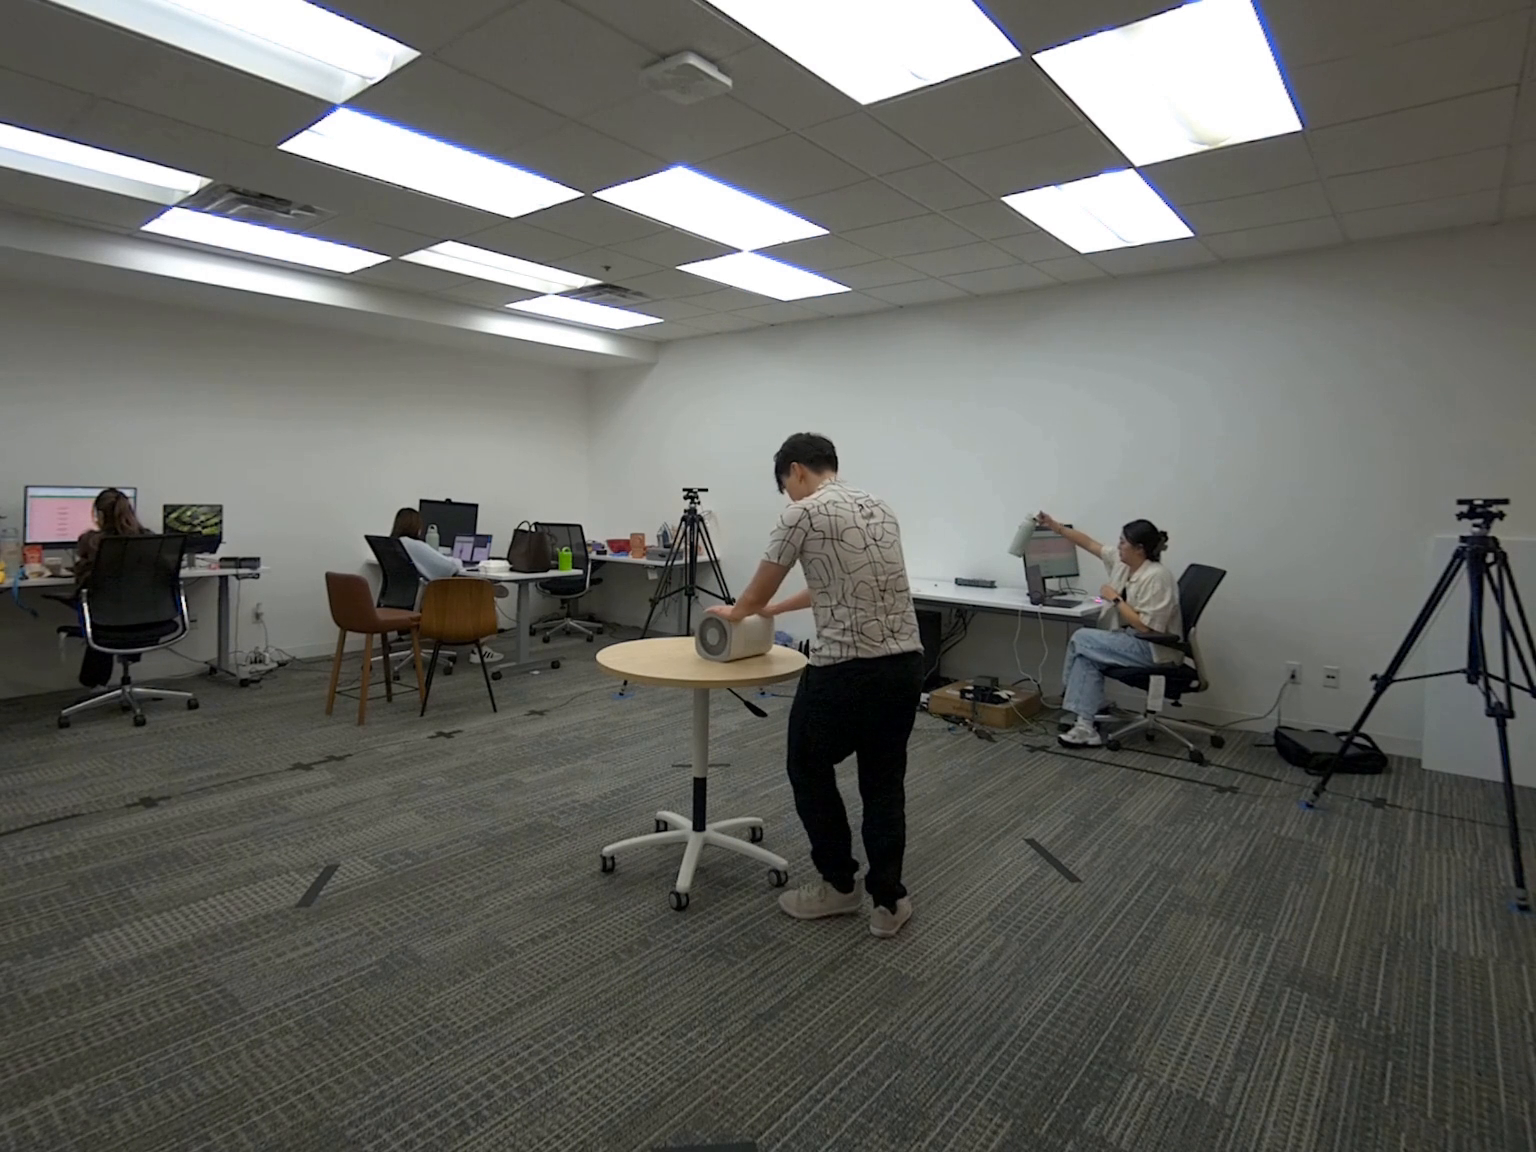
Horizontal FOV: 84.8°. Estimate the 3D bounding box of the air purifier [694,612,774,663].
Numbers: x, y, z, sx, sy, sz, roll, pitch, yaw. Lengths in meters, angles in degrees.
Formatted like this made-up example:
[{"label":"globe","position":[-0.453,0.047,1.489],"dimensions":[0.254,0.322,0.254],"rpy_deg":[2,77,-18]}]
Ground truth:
[{"label":"air purifier","position":[-0.124,0.202,3.104],"dimensions":[0.177,0.171,0.257],"rpy_deg":[8,8,40]}]
